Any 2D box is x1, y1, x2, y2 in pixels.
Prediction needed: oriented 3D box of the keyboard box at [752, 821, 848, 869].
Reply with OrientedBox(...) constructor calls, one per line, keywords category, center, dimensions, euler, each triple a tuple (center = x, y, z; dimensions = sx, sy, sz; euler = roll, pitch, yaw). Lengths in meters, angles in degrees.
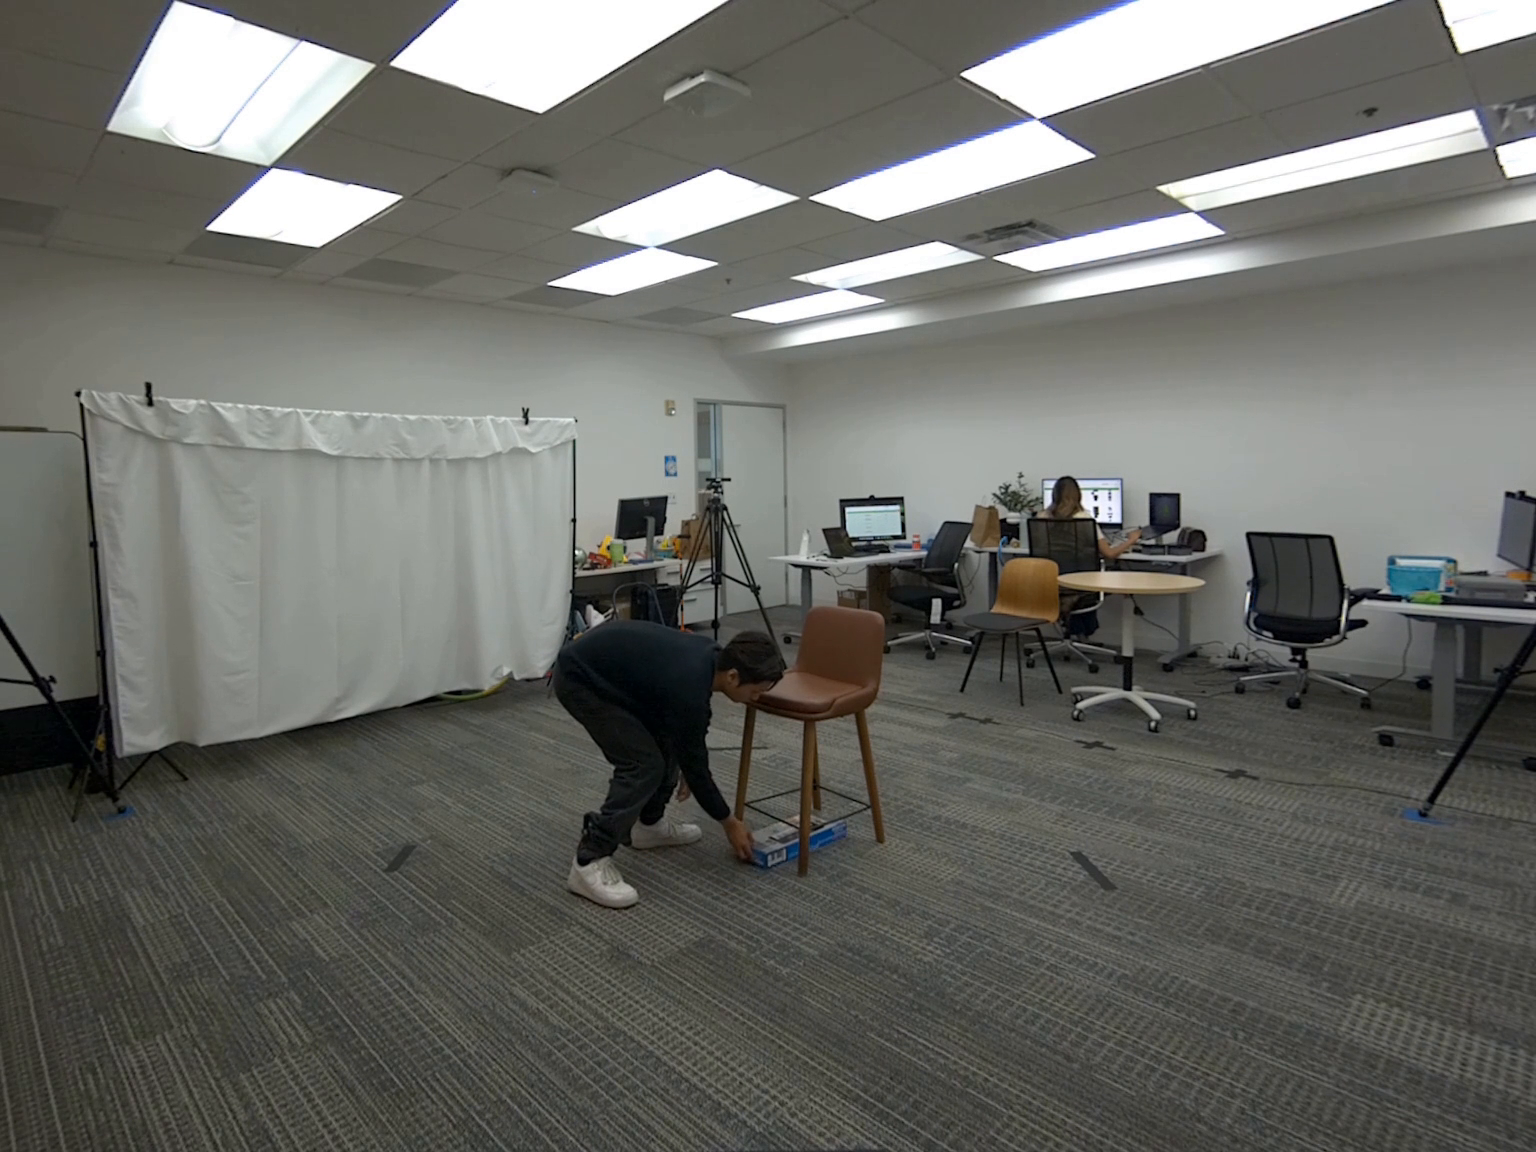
OrientedBox(category="keyboard box", center=(0.087, 0.990, 3.249), dimensions=(0.425, 0.059, 0.181), euler=(-6, 8, -42))
